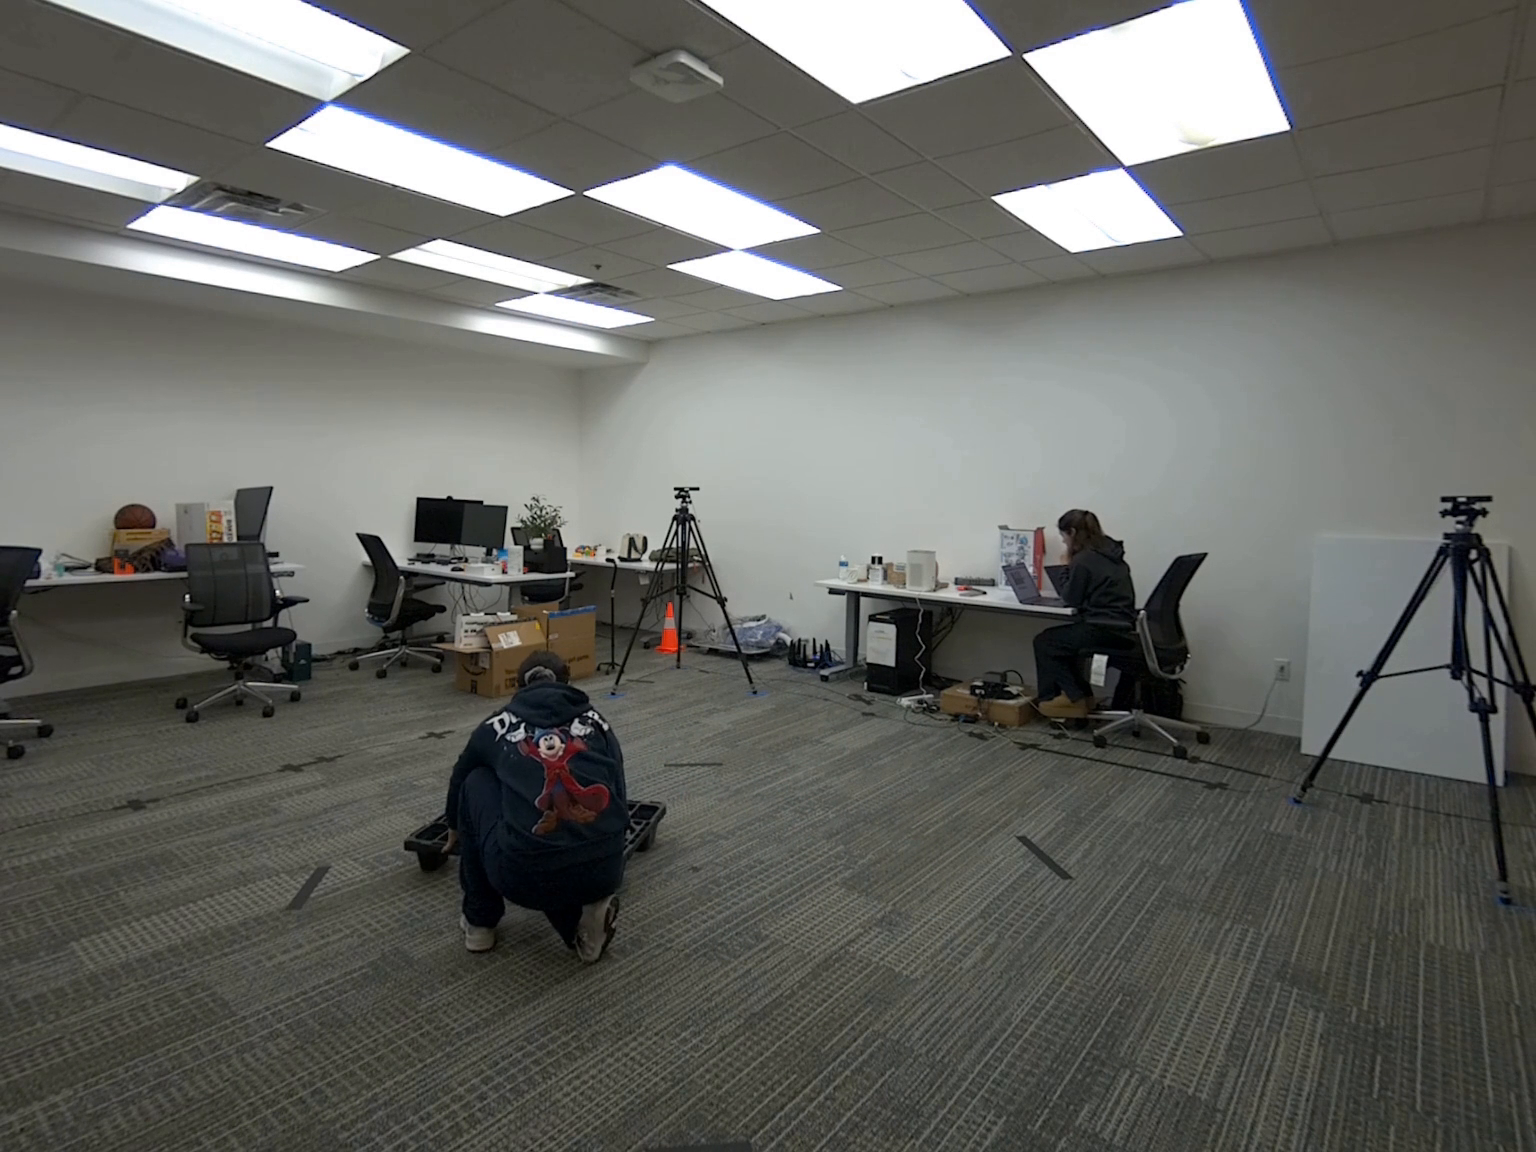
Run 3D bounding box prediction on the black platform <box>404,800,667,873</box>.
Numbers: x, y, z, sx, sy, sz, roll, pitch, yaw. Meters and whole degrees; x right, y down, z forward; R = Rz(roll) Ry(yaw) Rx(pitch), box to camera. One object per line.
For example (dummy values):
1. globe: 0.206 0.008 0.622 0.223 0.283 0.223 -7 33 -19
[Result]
1. black platform: -0.848 0.974 3.190 0.817 0.143 0.599 2 6 12
